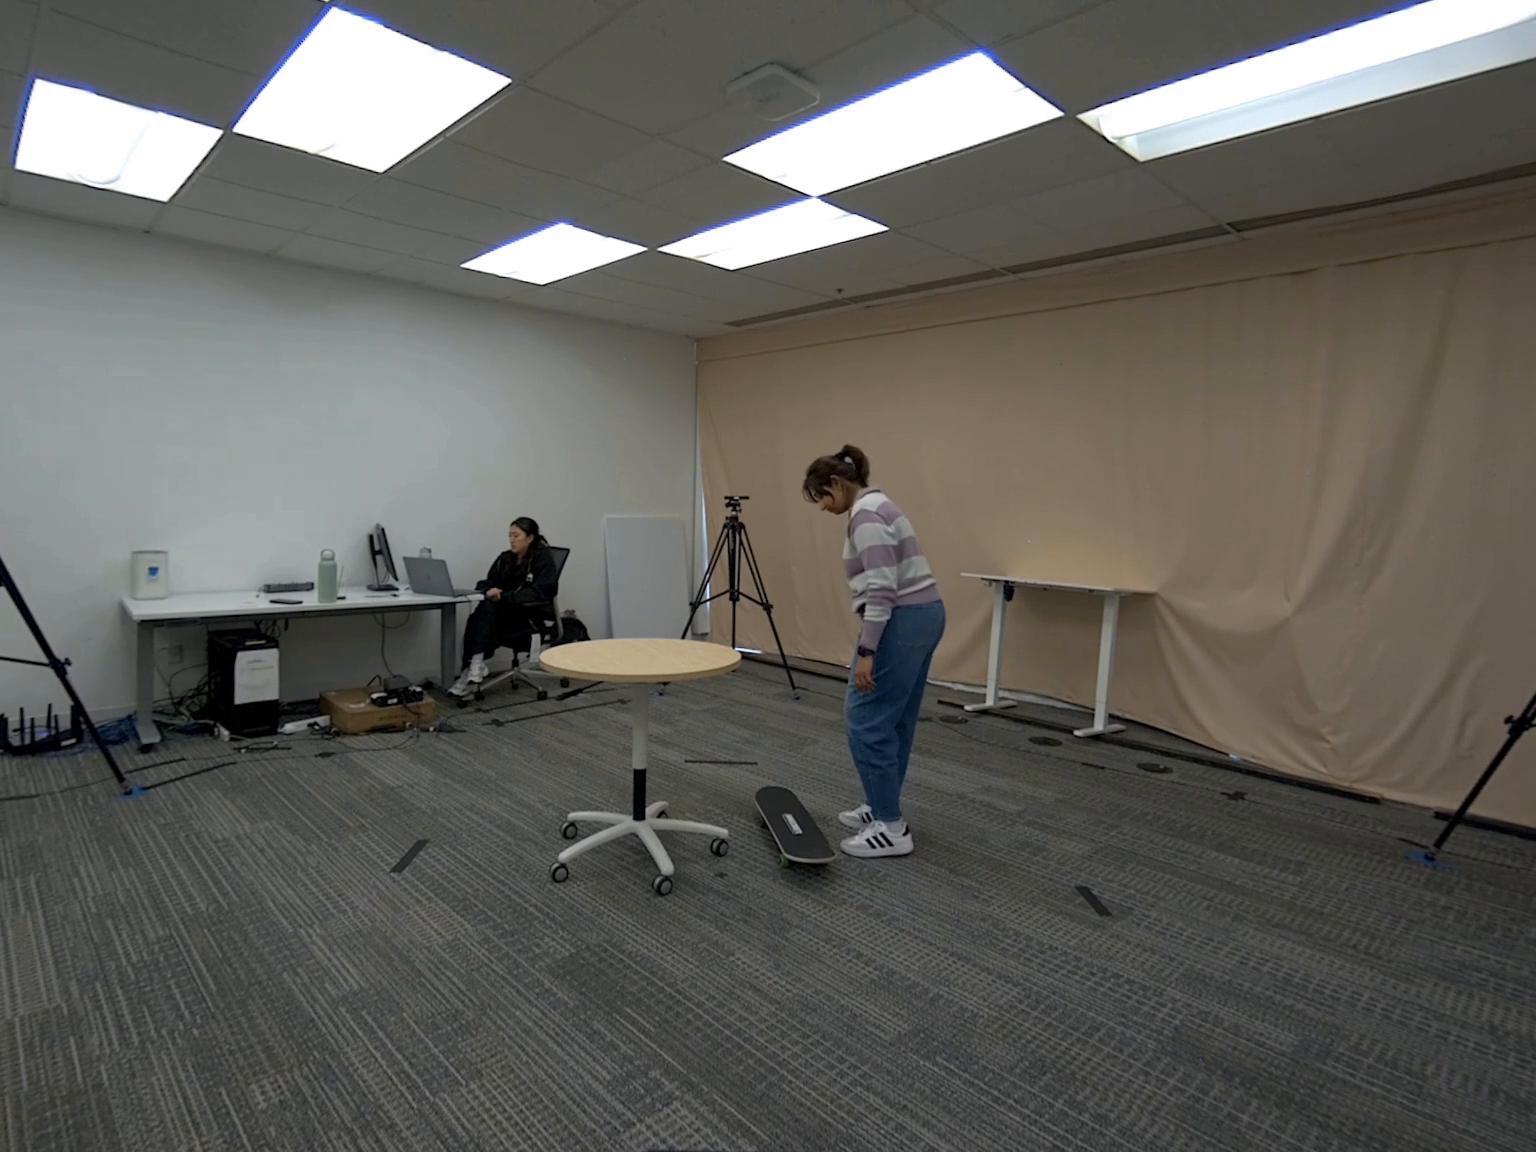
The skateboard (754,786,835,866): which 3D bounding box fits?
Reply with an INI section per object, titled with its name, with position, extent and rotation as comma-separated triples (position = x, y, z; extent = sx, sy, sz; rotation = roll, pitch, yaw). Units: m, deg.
[skateboard]
position = 0.086, 1.025, 3.388
extent = 0.192, 0.110, 0.794
rotation = 0, 5, -12
